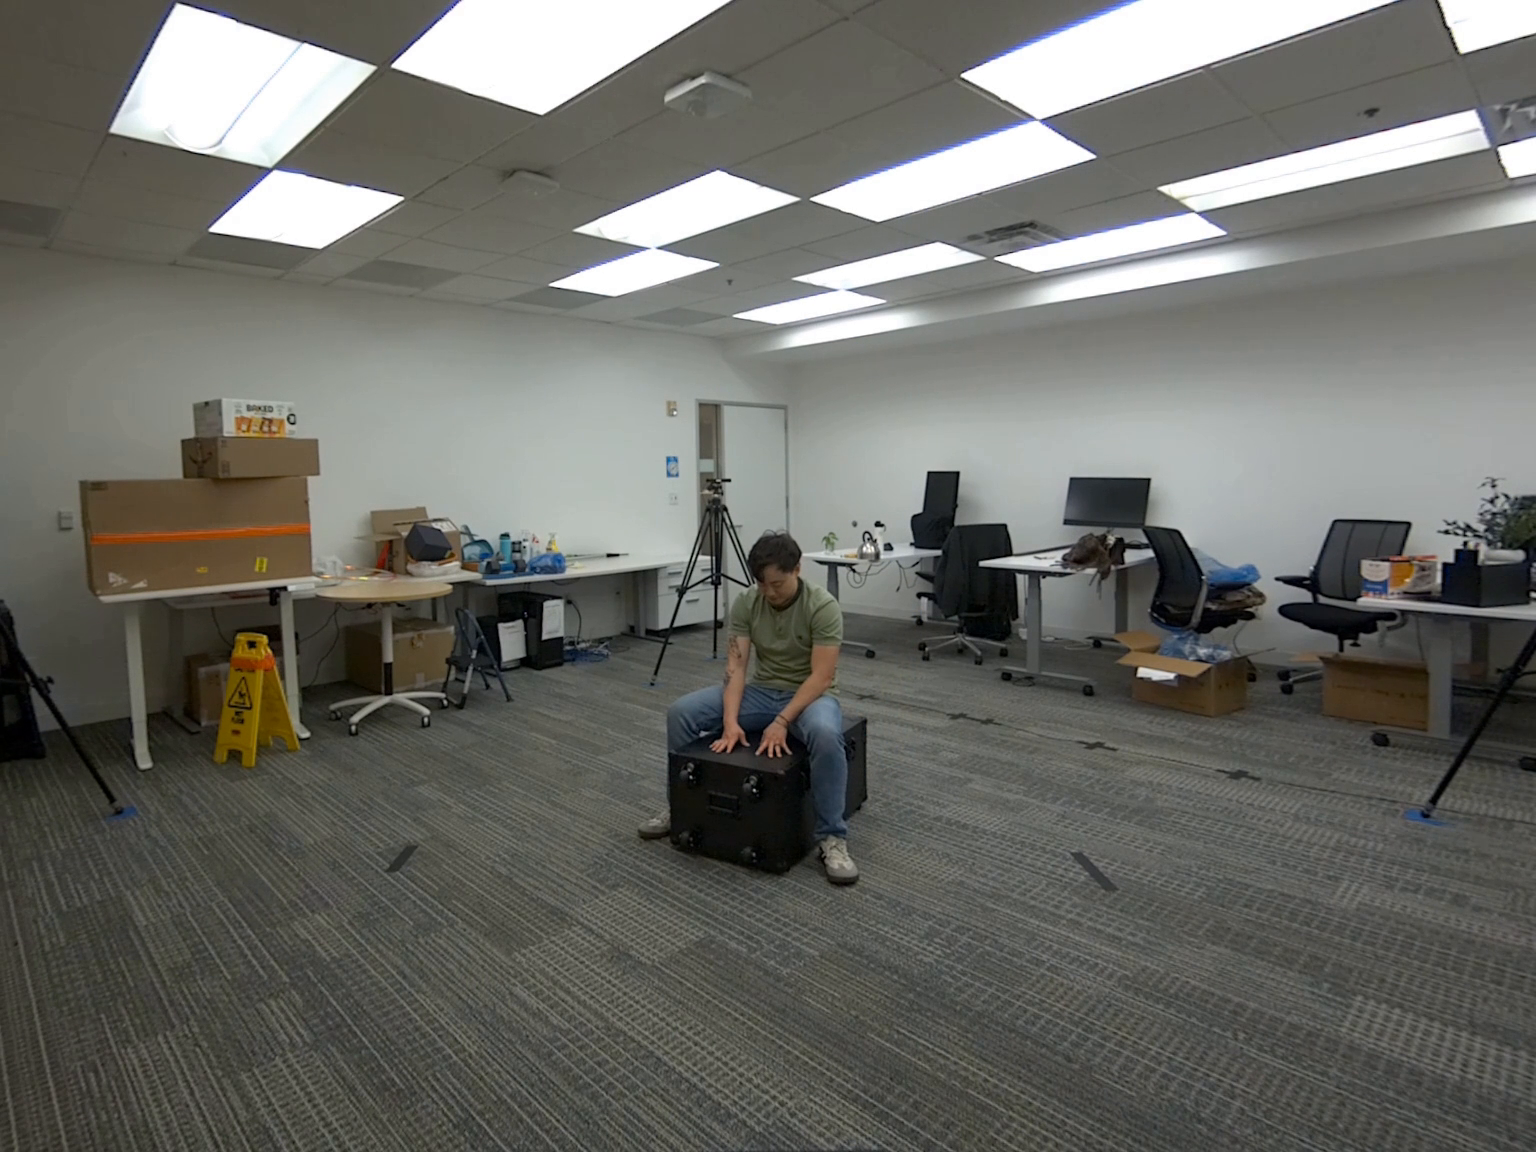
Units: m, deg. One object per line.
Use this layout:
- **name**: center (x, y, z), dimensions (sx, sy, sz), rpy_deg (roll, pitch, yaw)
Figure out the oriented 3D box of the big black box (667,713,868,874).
- **big black box**: center (0.012, 0.821, 3.399), dimensions (0.535, 0.395, 0.842), rpy_deg (3, 6, 29)
